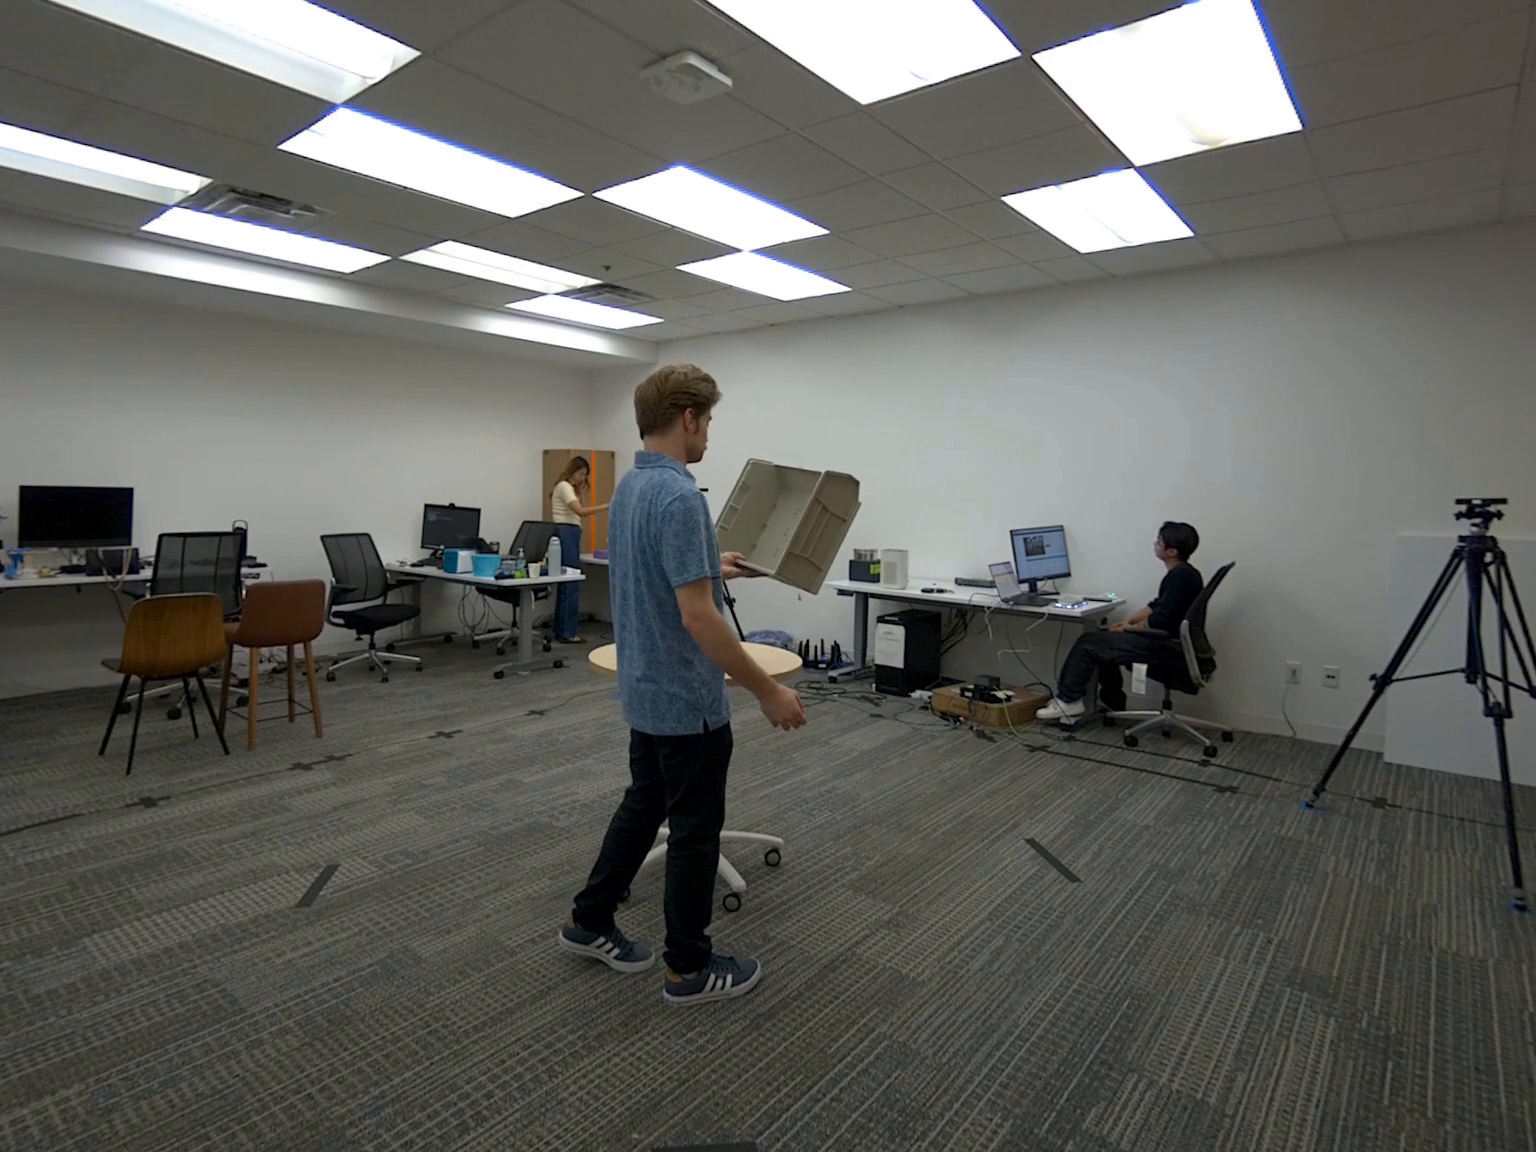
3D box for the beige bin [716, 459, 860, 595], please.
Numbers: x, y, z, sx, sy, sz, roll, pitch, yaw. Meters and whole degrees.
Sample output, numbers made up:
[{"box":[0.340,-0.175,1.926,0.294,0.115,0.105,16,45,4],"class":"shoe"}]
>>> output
[{"box":[0.031,-0.179,2.684,0.182,0.378,0.438,29,-6,-35],"class":"beige bin"}]
